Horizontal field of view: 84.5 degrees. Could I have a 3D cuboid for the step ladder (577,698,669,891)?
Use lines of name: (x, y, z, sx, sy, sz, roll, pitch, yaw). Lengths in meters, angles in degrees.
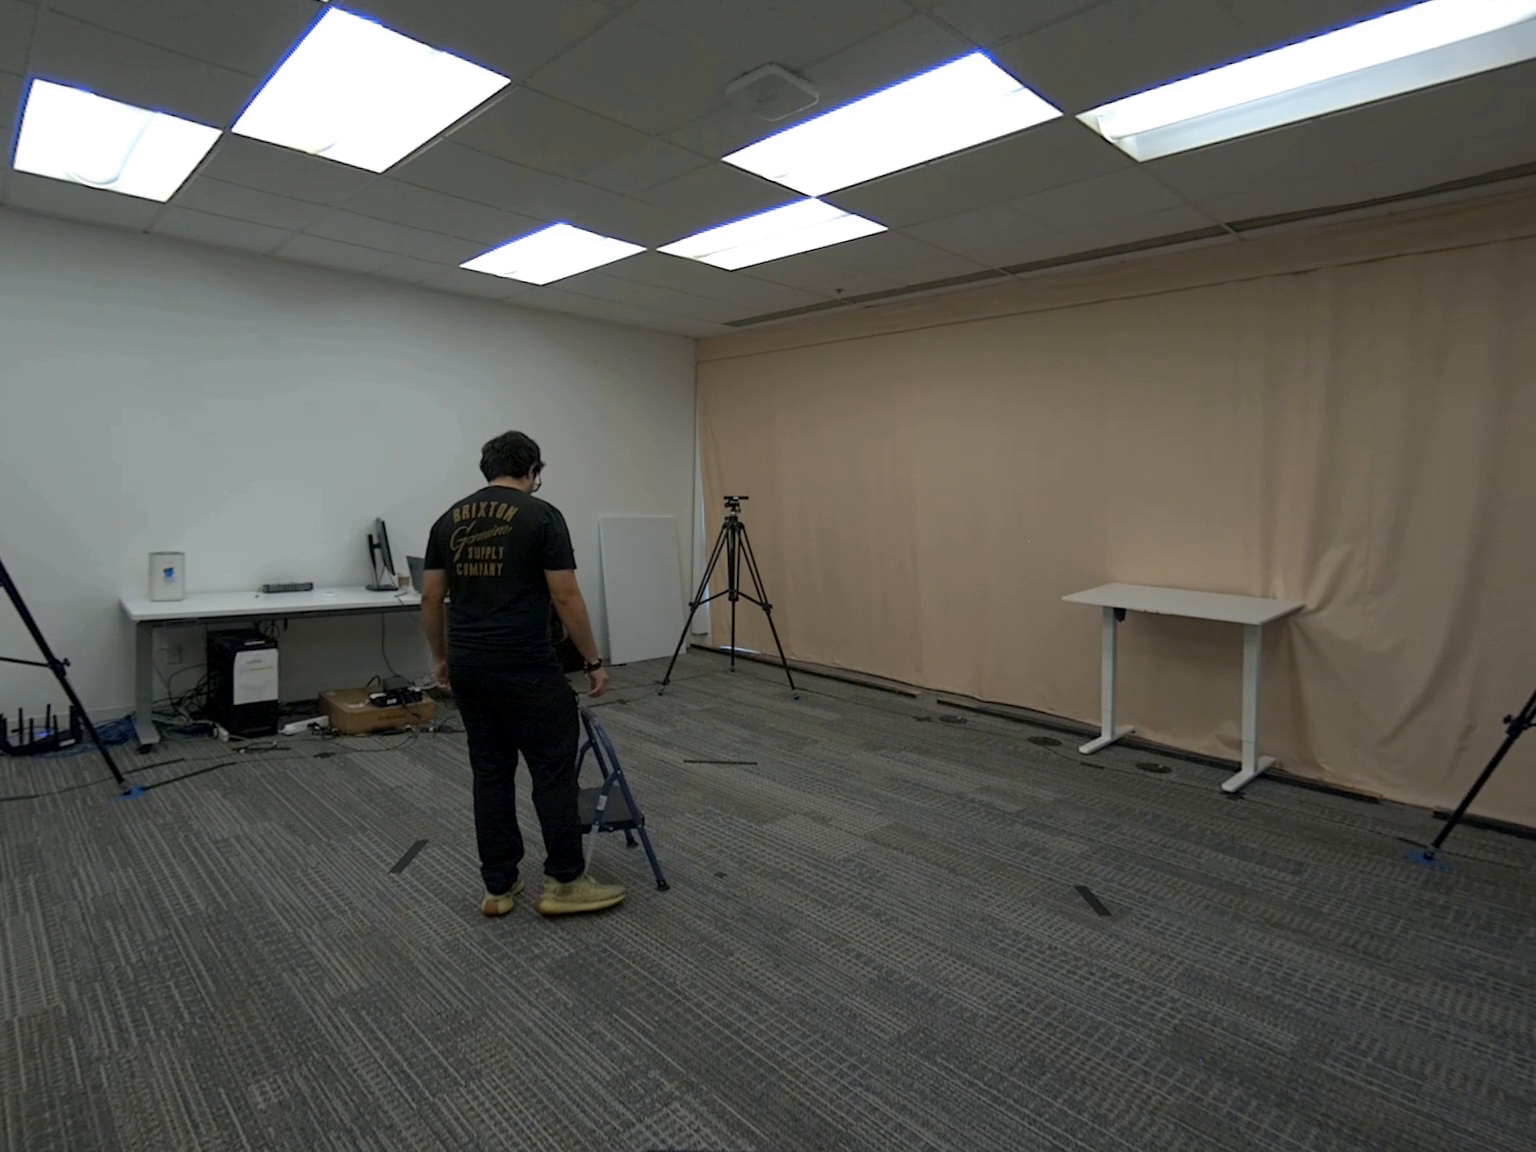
step ladder: (-0.590, 0.795, 3.092, 0.343, 0.604, 0.439, -1, 4, -25)
